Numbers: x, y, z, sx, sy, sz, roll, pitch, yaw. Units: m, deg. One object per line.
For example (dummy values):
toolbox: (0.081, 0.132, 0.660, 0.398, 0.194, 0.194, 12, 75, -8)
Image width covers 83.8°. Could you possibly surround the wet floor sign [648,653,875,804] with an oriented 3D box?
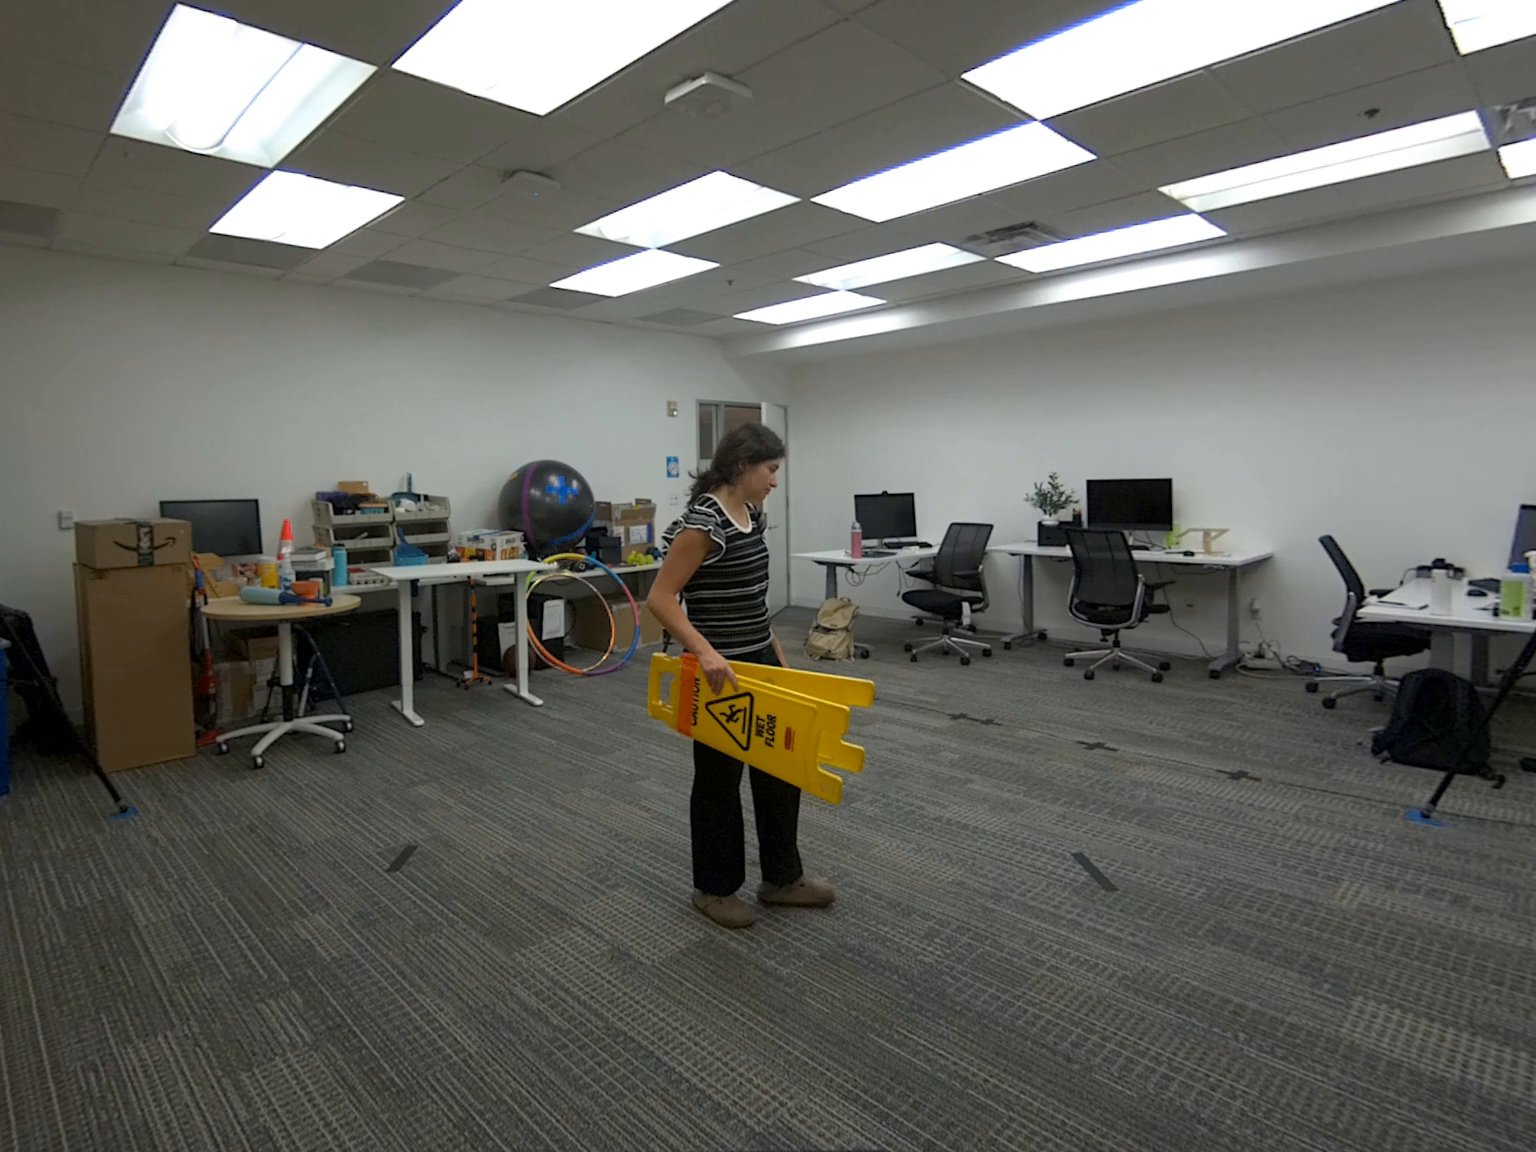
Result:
wet floor sign: (-0.051, 0.389, 2.441, 0.661, 0.279, 0.286, 11, 14, 22)
